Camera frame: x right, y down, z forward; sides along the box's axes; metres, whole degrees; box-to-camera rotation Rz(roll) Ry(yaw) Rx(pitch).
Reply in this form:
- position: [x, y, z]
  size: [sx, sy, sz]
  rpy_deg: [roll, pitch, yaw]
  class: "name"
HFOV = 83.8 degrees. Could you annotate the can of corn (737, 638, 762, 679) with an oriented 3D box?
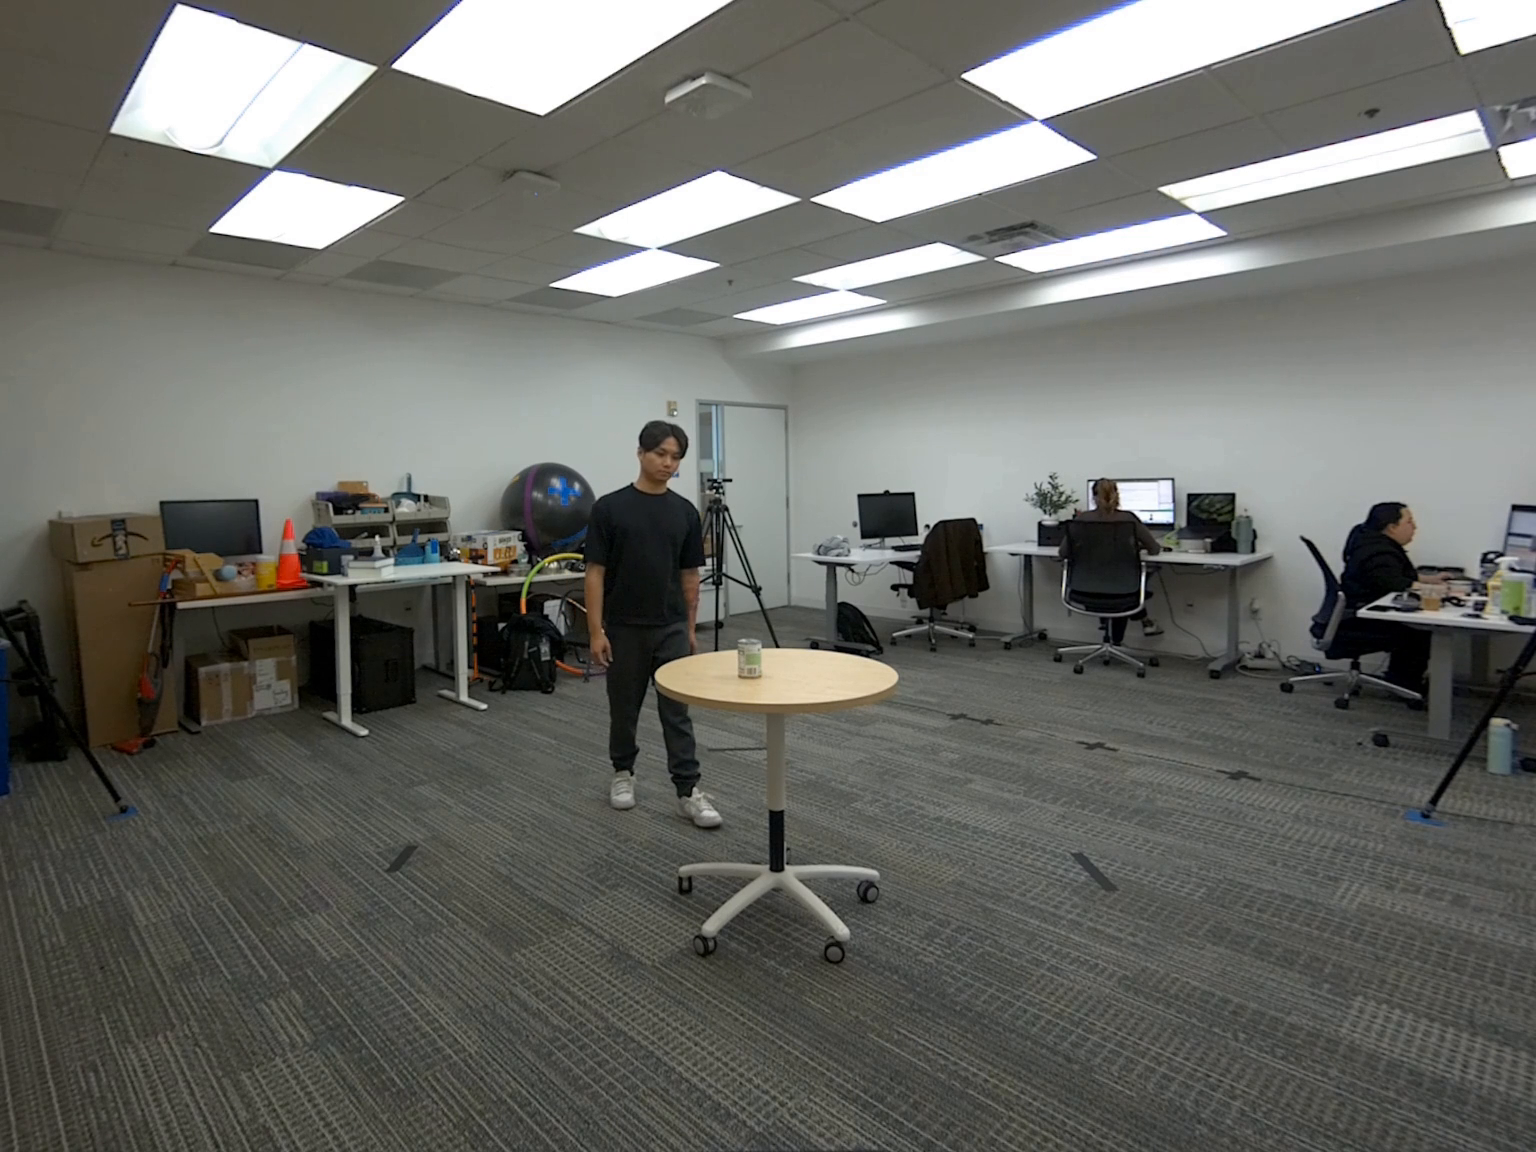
- position: [-0.053, 0.260, 2.646]
  size: [0.074, 0.110, 0.075]
  rpy_deg: [-2, 6, -1]
  class: "can of corn"
